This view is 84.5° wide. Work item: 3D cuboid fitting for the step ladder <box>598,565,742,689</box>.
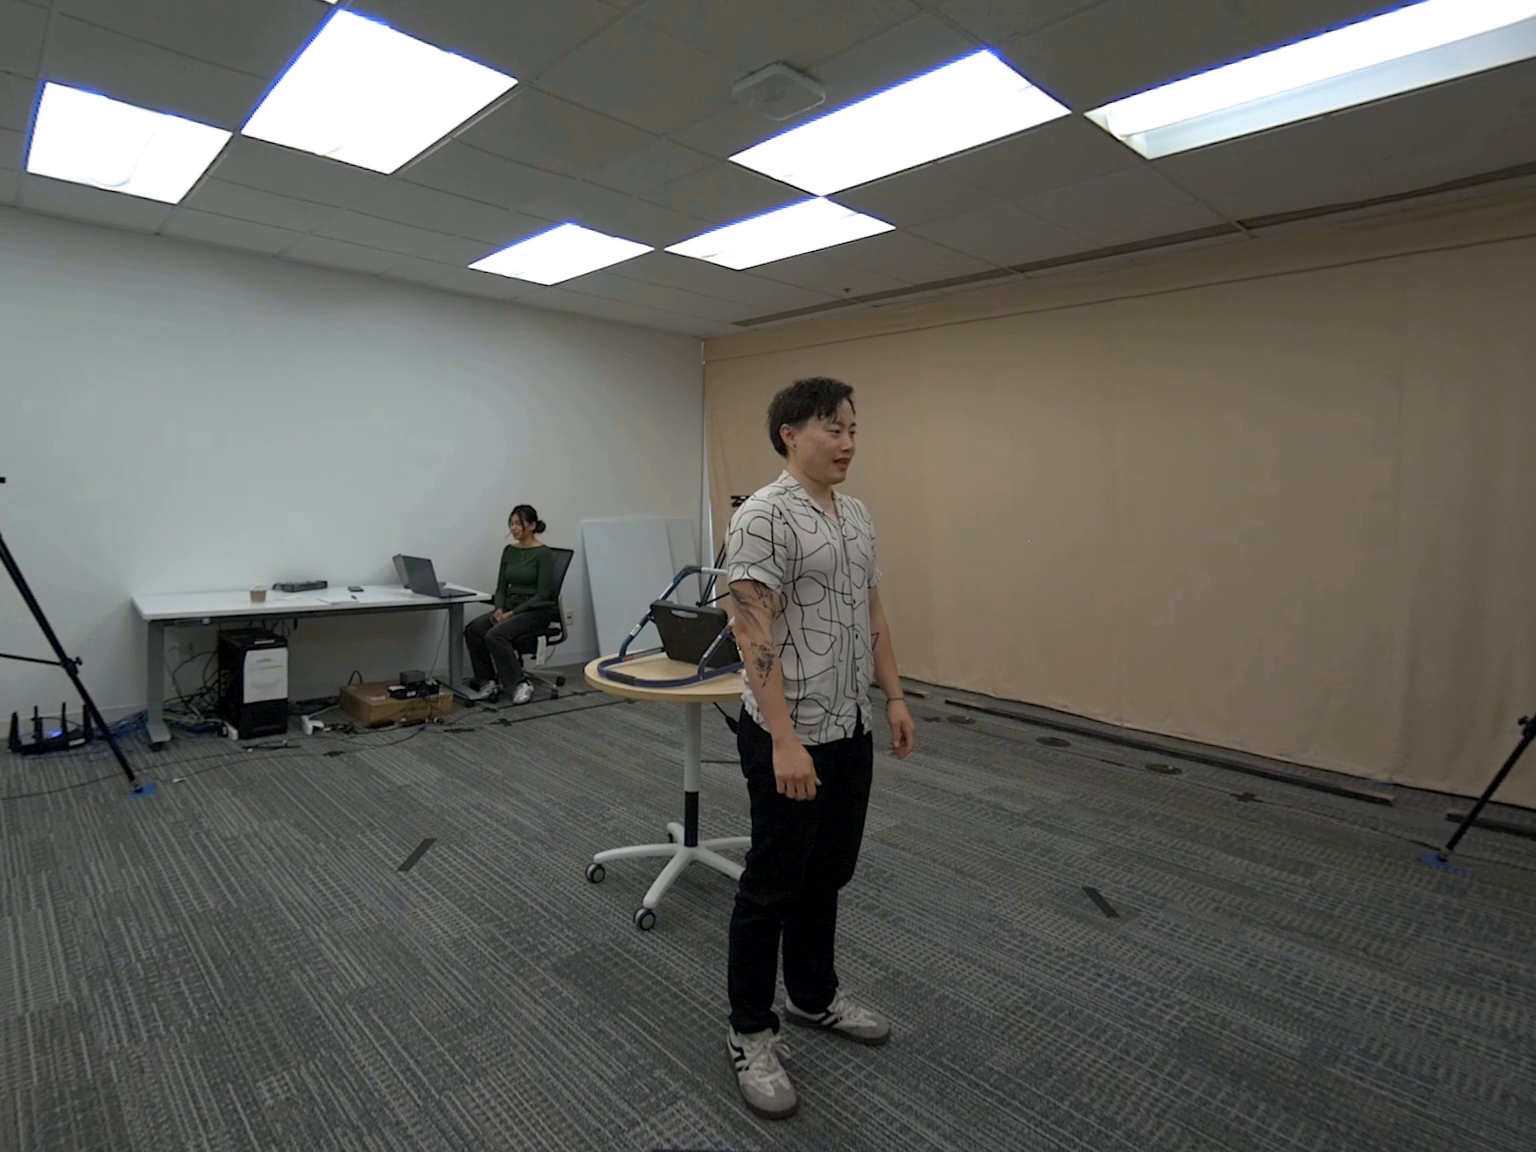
[{"bbox_3d":[-0.291,0.265,2.954,0.441,0.343,0.602,4,30,40],"label":"step ladder"}]
